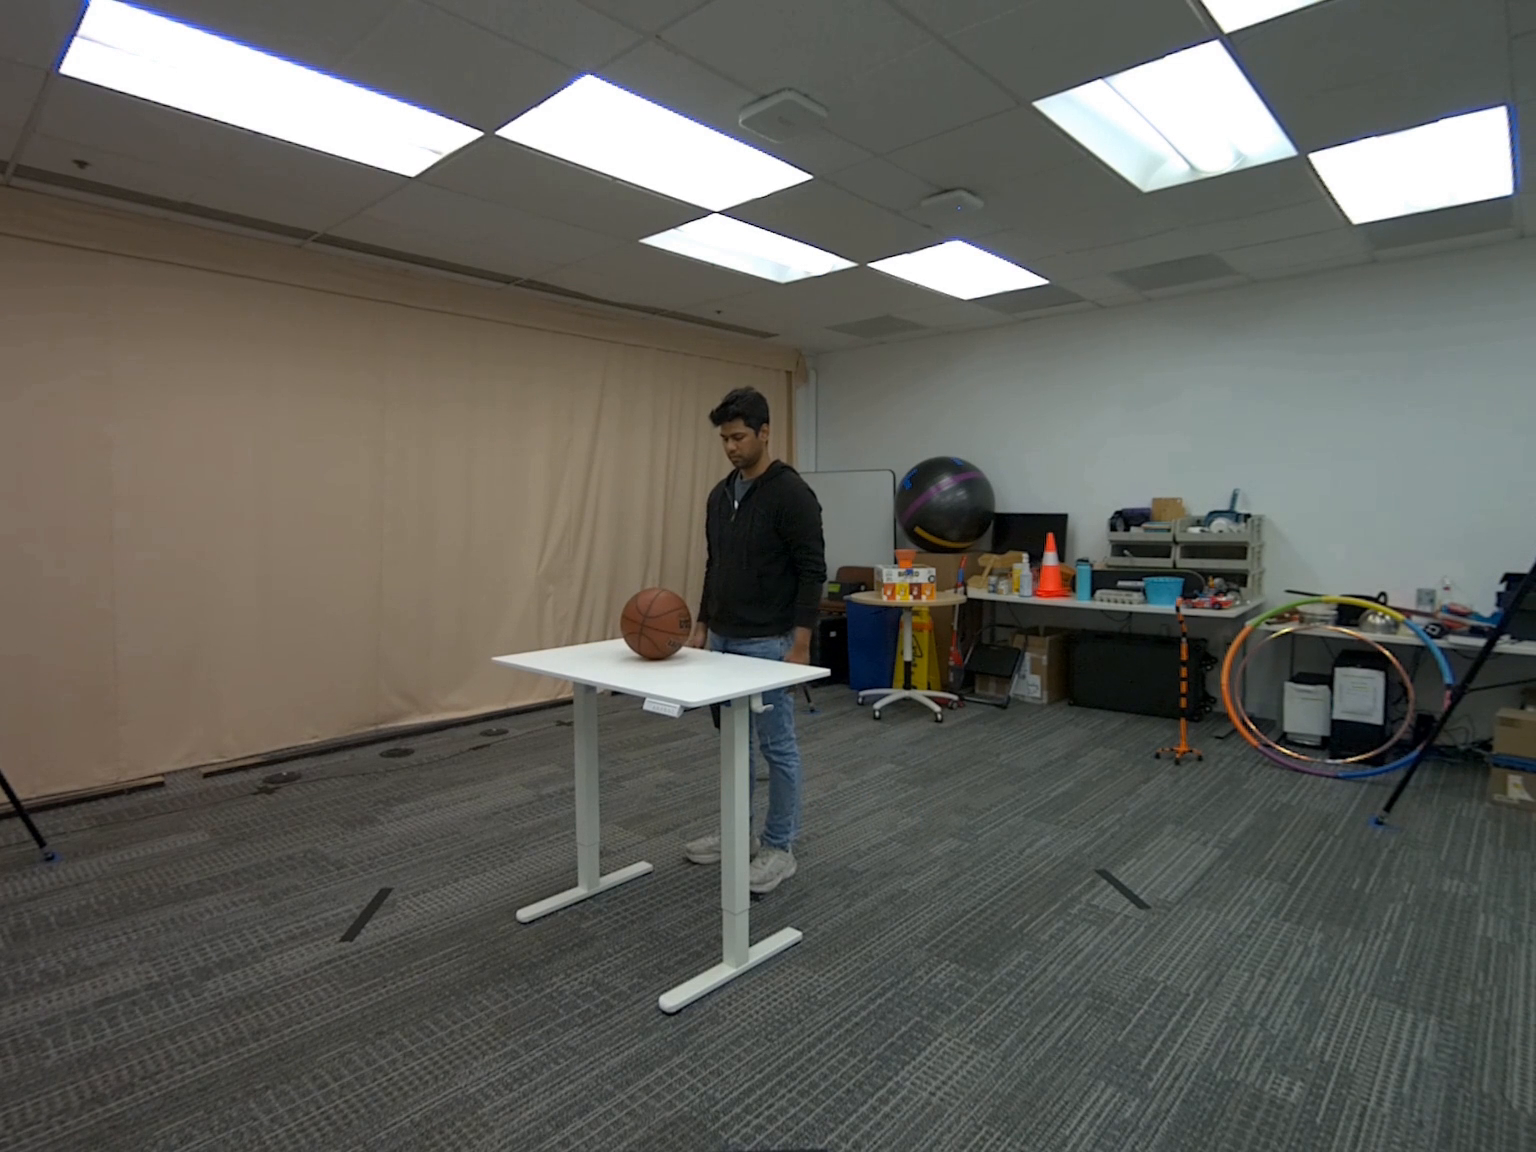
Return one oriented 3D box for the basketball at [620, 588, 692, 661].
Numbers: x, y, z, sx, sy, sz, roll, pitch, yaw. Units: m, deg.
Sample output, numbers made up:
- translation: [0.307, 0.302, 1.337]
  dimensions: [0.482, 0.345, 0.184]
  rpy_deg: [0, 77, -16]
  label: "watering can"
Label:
- translation: [-0.375, 0.160, 2.823]
  dimensions: [0.236, 0.235, 0.237]
  rpy_deg: [0, 4, -2]
  label: "basketball"
